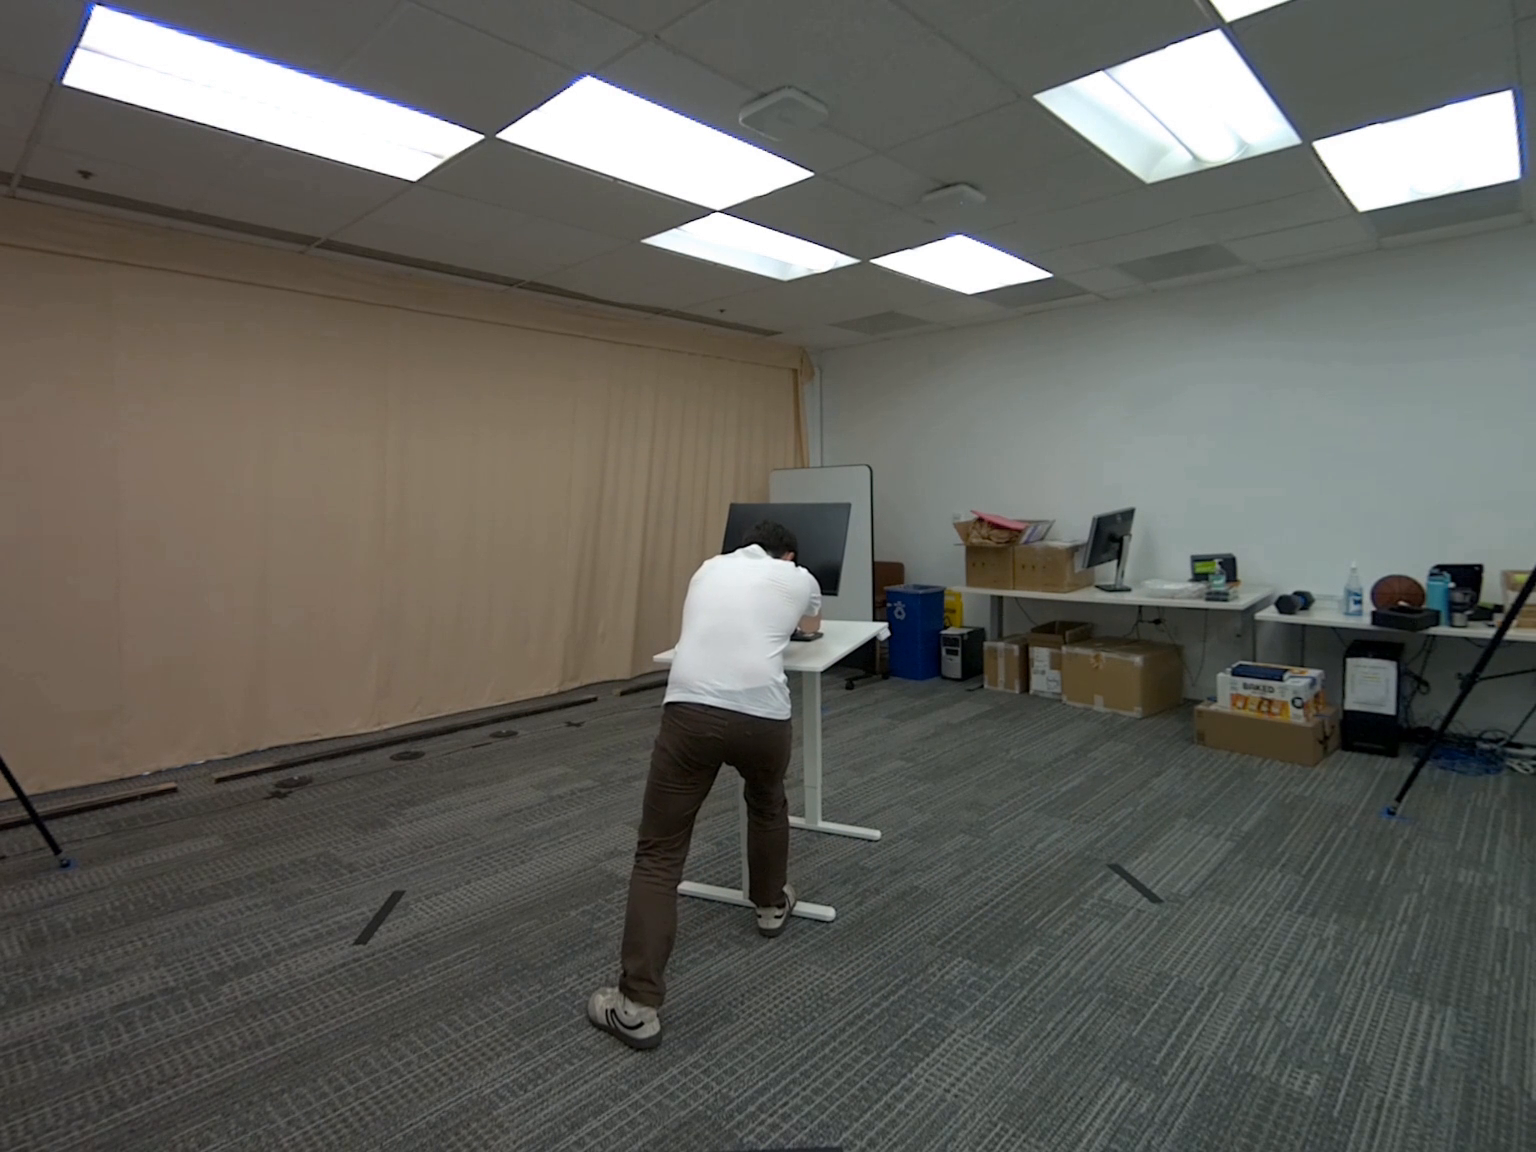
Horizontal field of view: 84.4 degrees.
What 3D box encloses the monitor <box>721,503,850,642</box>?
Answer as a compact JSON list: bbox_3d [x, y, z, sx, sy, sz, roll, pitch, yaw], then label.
[{"bbox_3d":[0.063,-0.023,3.238,0.555,0.522,0.181,2,0,32],"label":"monitor"}]
